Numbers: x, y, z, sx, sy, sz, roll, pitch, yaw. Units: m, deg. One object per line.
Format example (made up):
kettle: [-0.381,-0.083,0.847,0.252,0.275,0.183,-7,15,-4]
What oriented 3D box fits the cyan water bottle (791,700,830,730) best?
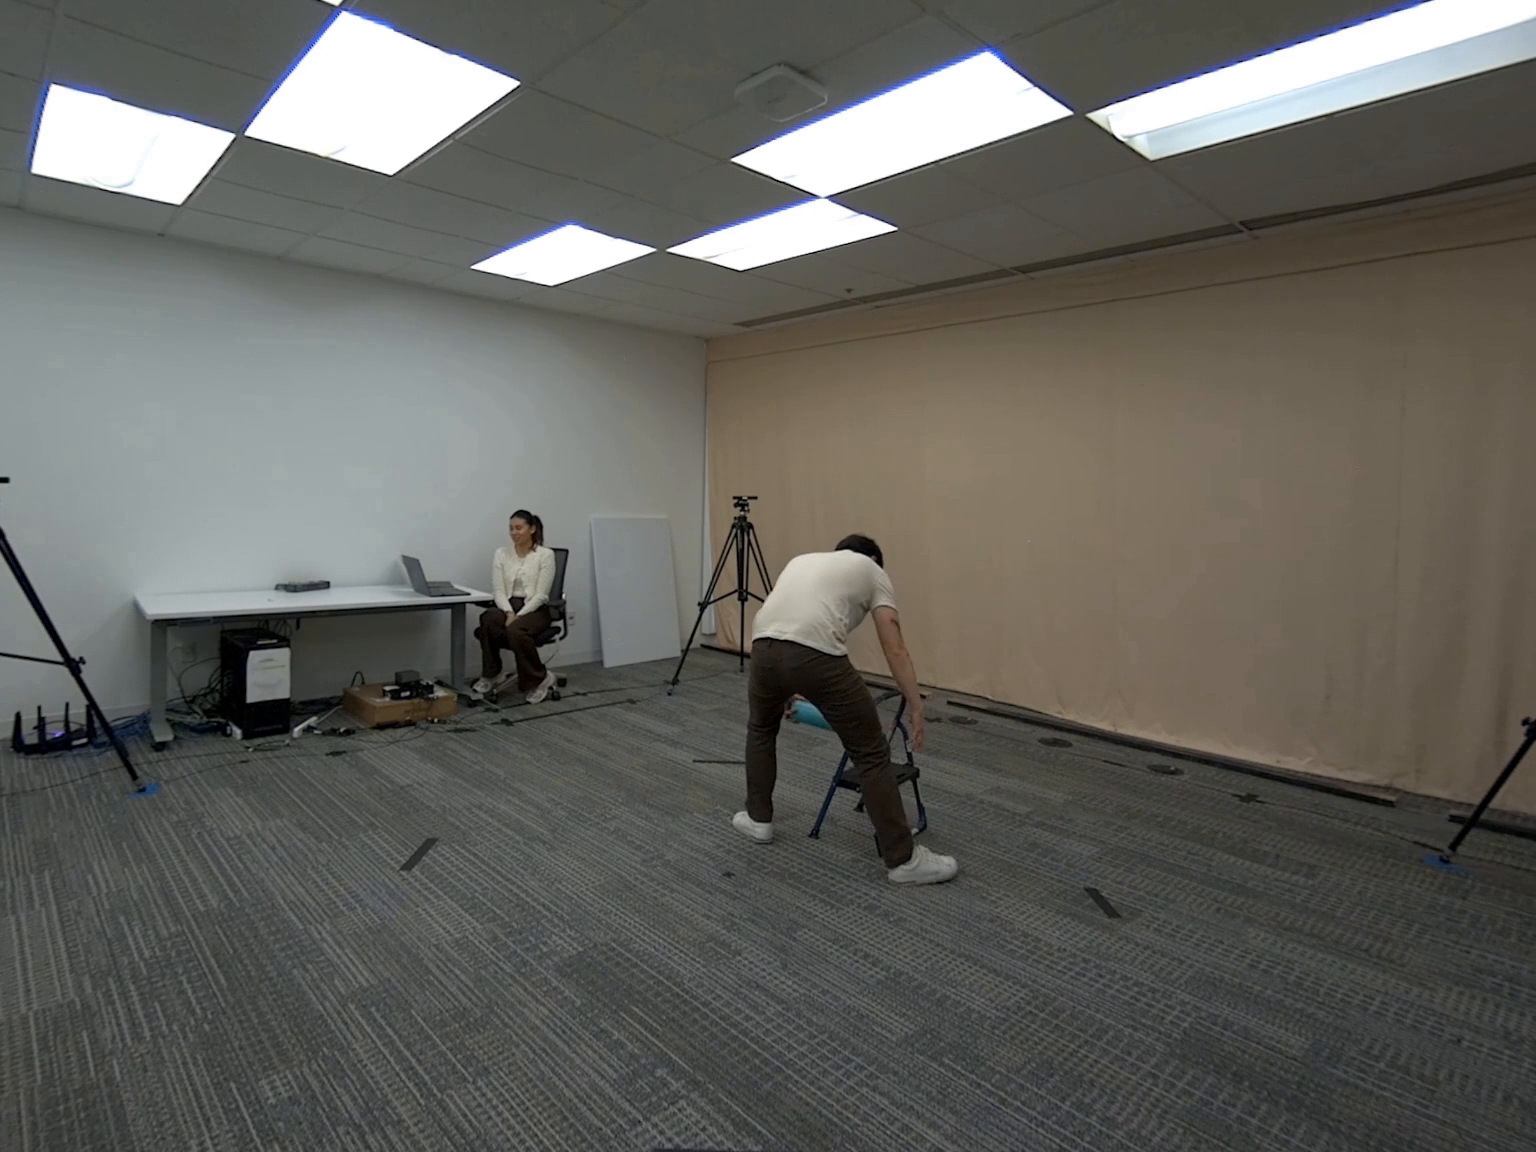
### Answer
cyan water bottle: [0.226,0.602,3.588,0.290,0.092,0.090,10,8,29]
